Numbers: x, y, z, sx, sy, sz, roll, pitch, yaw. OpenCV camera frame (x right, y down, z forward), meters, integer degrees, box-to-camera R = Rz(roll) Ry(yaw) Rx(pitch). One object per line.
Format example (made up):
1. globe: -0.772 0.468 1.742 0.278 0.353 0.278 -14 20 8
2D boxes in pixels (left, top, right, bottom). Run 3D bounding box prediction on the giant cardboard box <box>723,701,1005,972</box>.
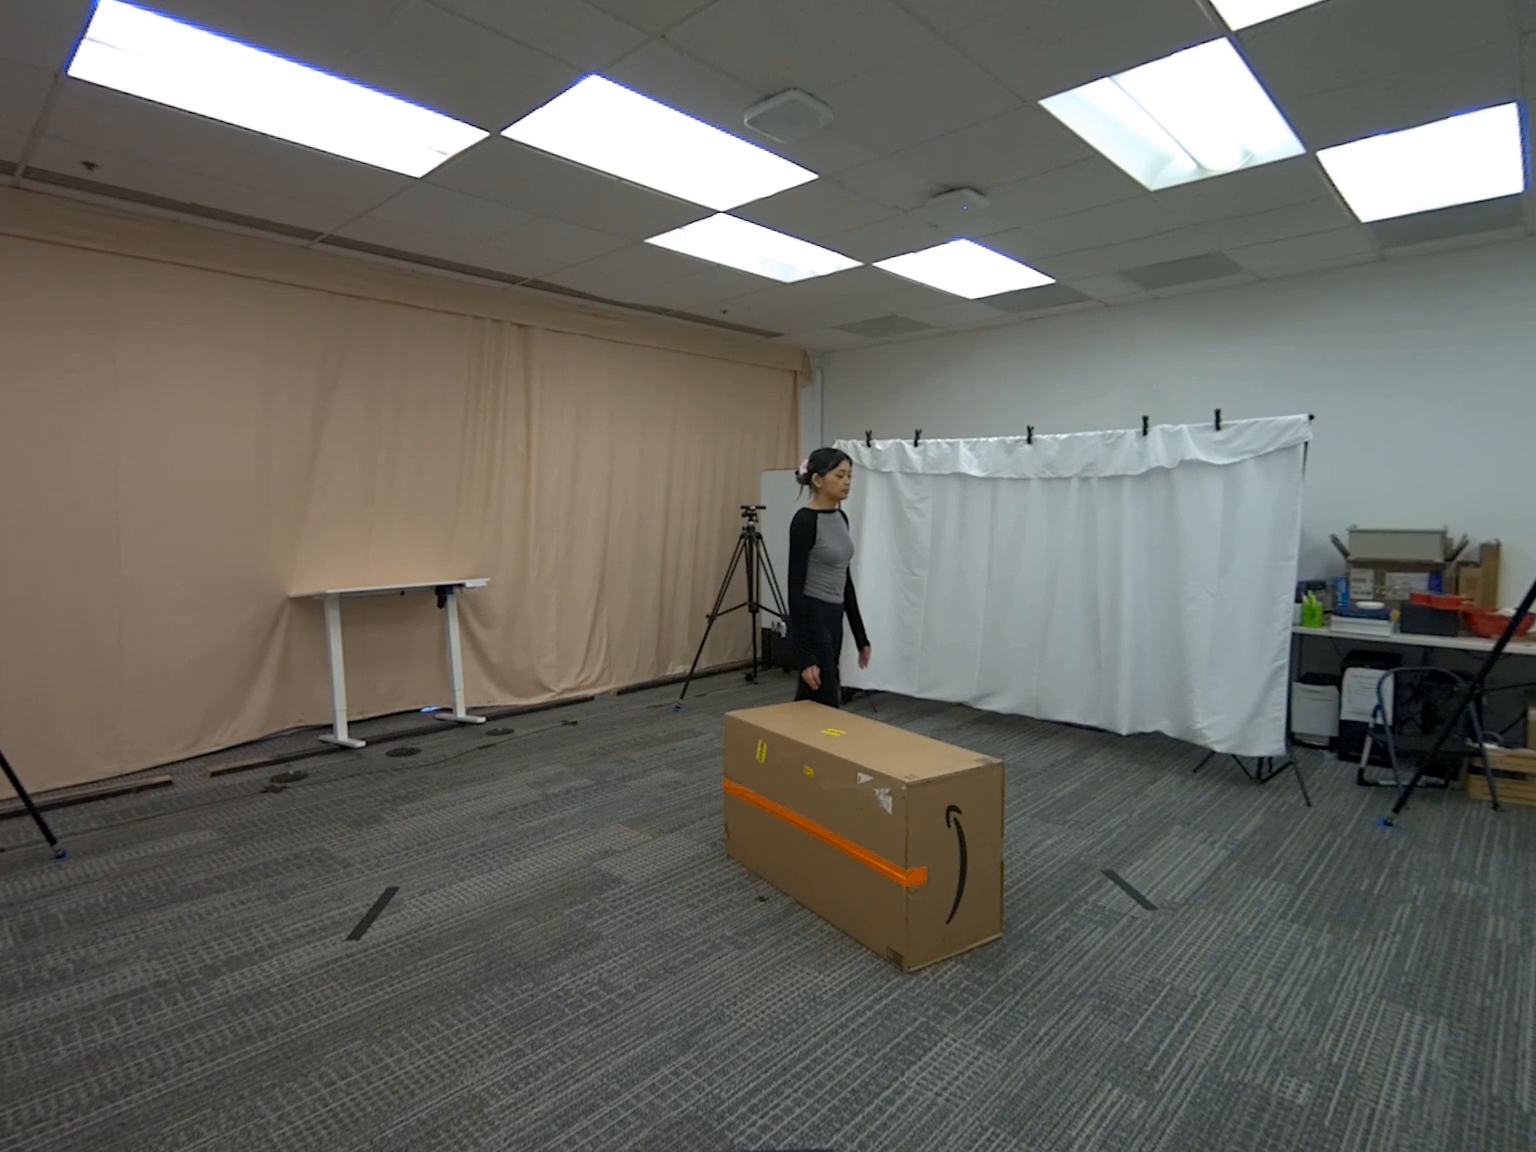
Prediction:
1. giant cardboard box: 0.291 0.853 3.022 0.414 0.576 1.058 -2 4 -34
